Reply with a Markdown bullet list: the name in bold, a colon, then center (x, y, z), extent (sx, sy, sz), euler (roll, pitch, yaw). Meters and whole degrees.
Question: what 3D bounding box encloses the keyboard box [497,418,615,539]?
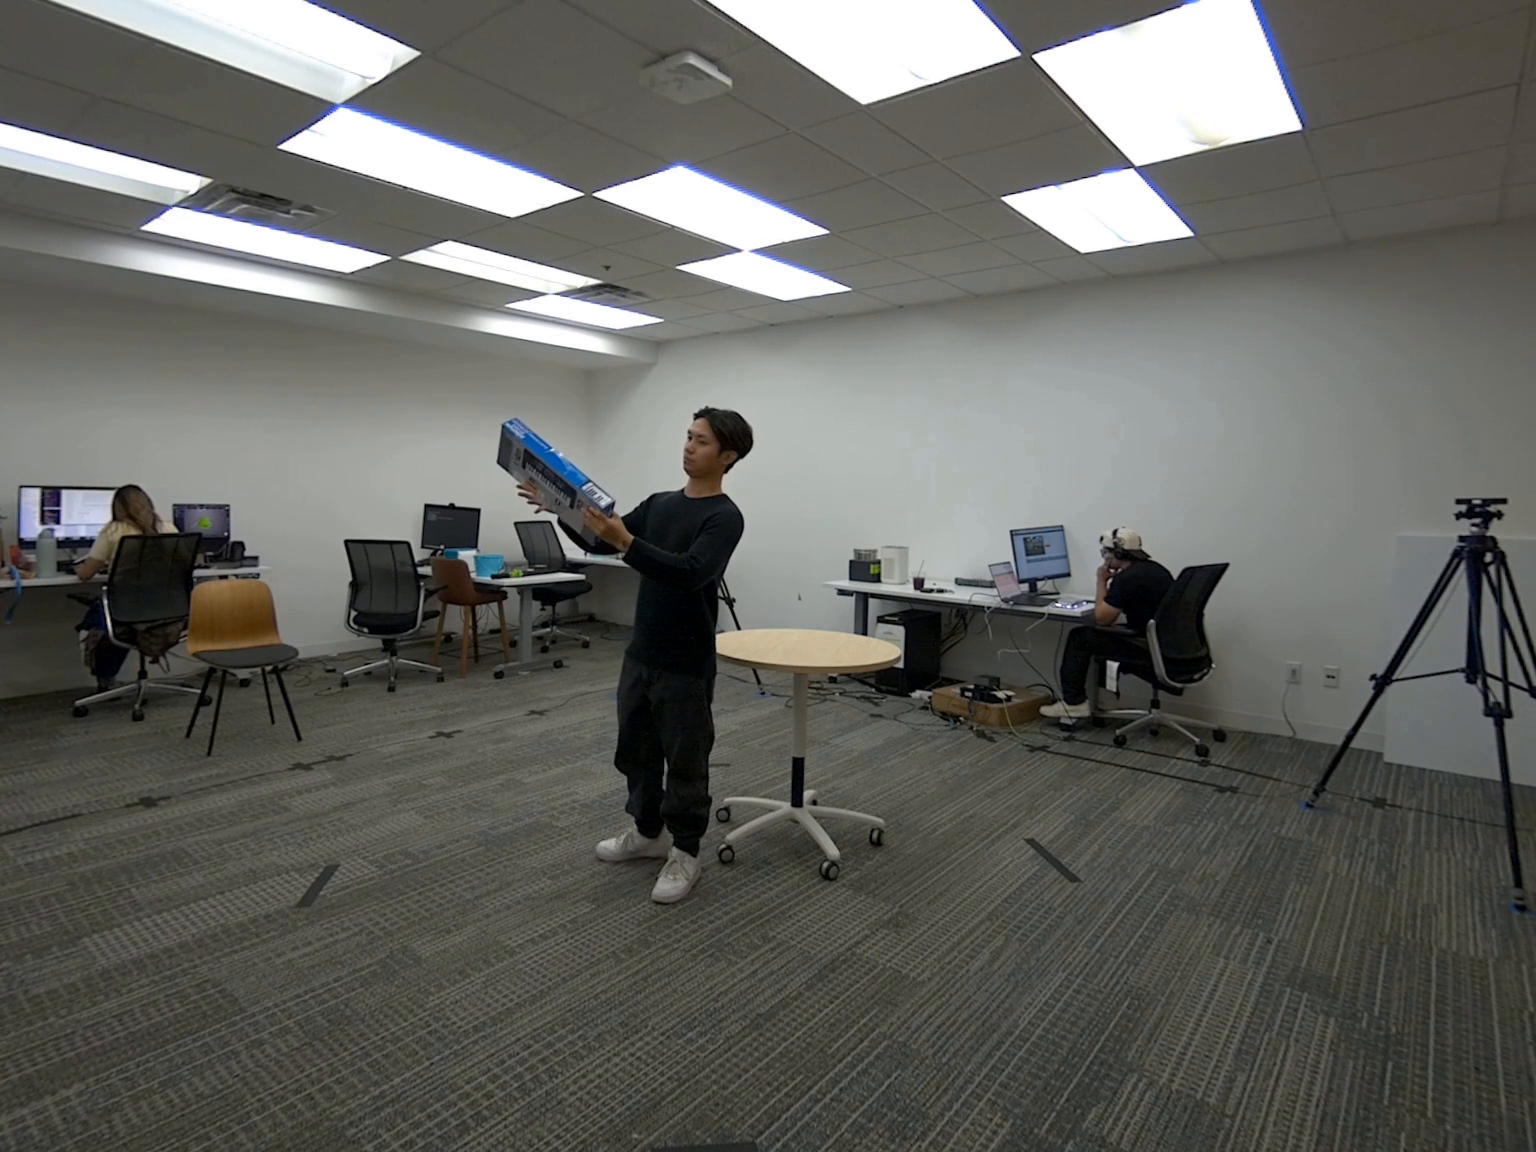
- **keyboard box**: center (-0.674, -0.294, 2.631), extent (0.446, 0.174, 0.058), euler (40, 45, 14)
